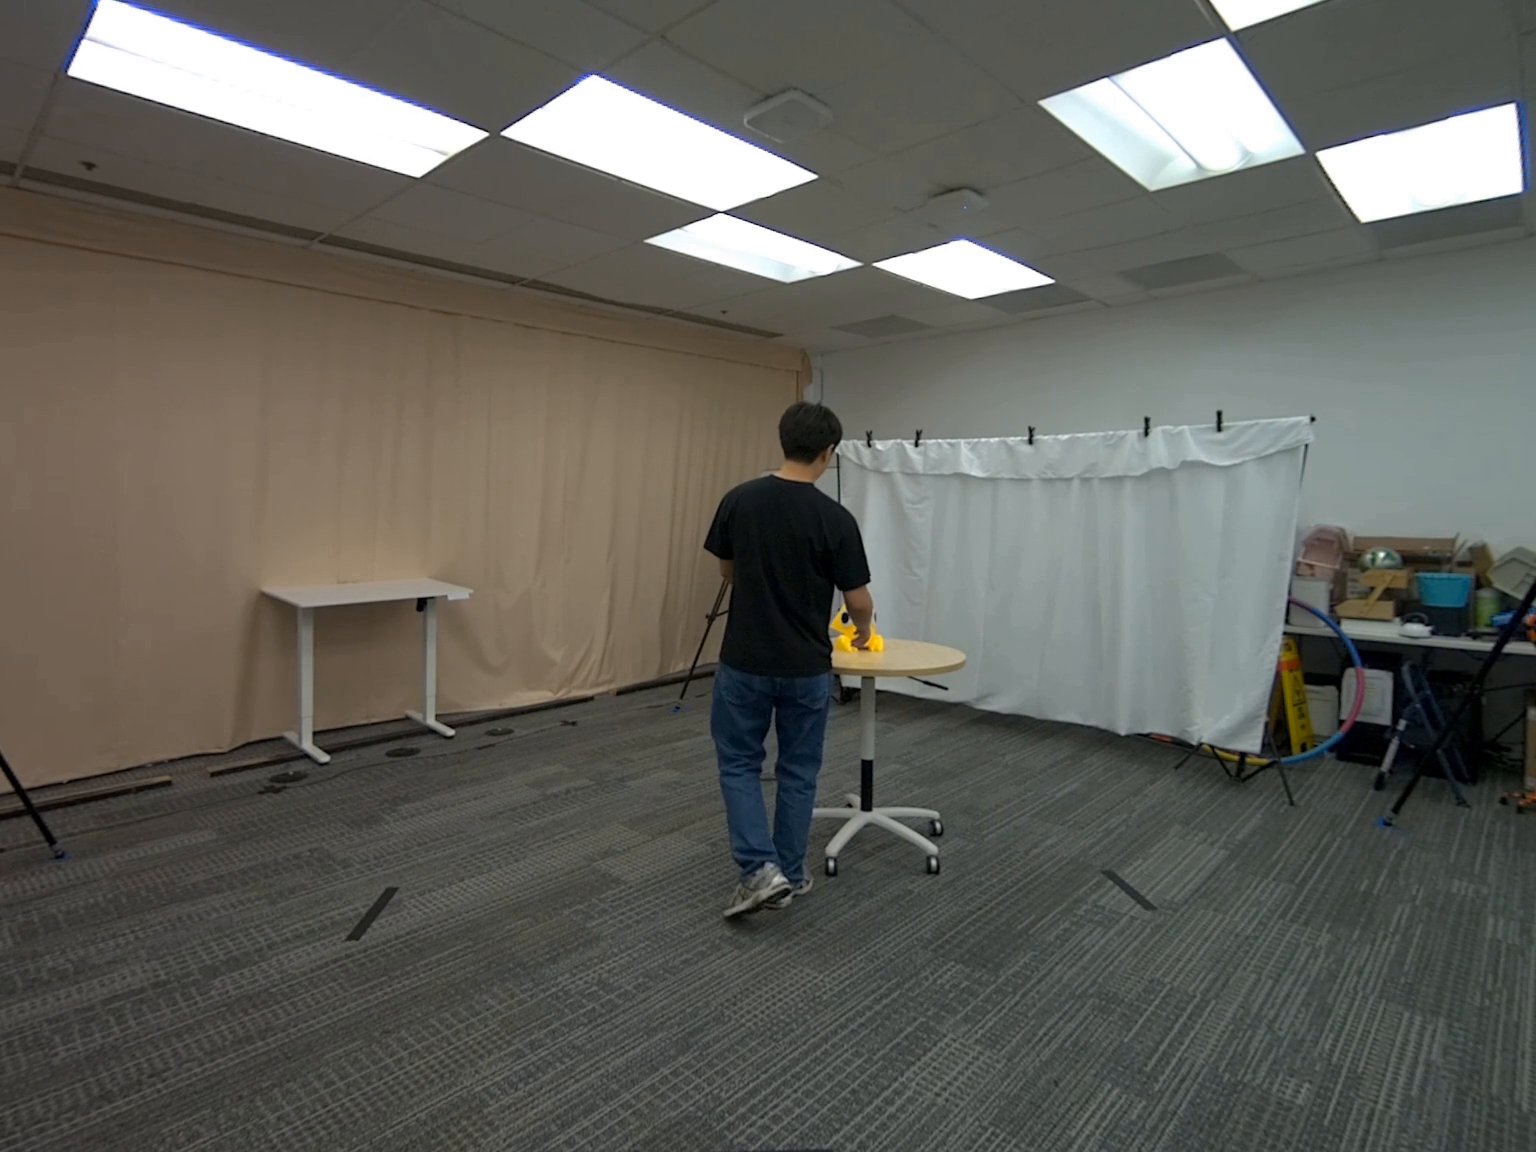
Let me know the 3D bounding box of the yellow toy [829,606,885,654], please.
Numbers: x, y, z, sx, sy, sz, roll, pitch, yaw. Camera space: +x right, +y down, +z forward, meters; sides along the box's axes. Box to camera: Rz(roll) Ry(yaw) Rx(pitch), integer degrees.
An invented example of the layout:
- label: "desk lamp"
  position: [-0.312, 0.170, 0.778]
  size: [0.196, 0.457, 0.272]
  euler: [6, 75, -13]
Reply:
- label: "yellow toy"
  position: [0.384, 0.187, 3.526]
  size: [0.202, 0.230, 0.195]
  euler: [0, 3, -11]
